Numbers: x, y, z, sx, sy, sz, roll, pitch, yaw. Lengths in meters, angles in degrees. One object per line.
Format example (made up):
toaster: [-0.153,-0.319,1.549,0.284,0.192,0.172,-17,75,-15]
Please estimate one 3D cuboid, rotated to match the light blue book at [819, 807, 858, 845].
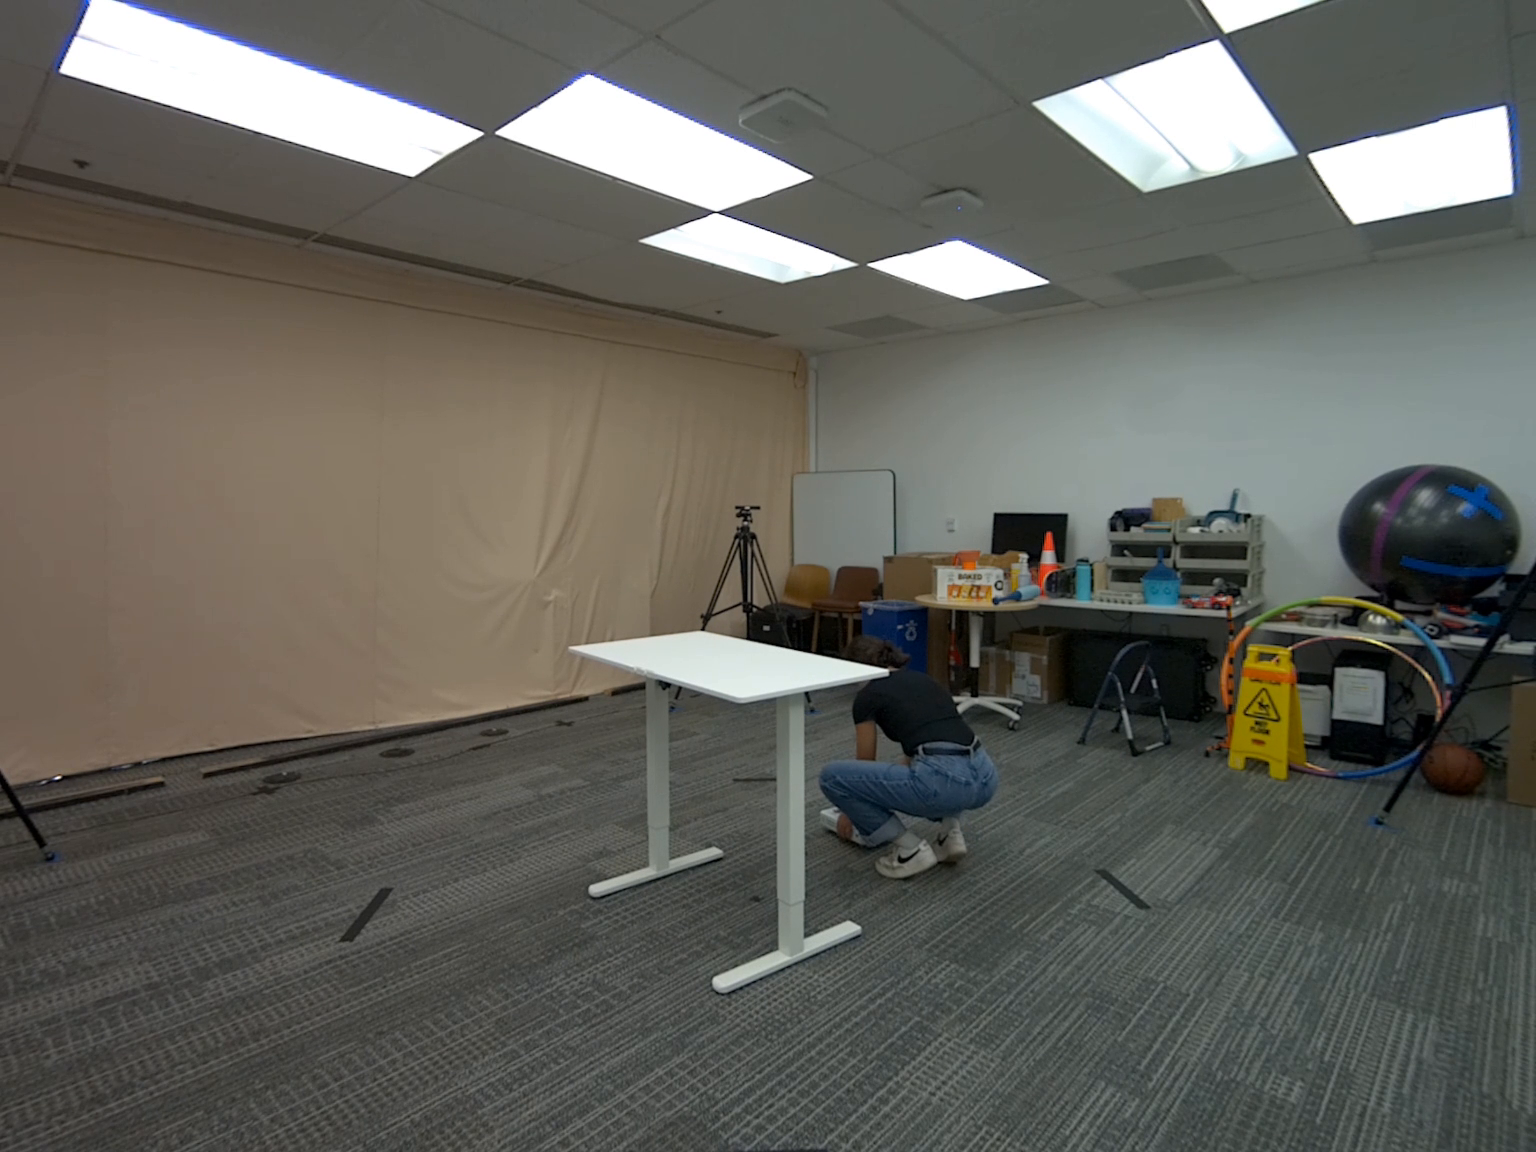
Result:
light blue book: [0.386,1.048,3.558,0.186,0.059,0.269,-2,6,-35]
